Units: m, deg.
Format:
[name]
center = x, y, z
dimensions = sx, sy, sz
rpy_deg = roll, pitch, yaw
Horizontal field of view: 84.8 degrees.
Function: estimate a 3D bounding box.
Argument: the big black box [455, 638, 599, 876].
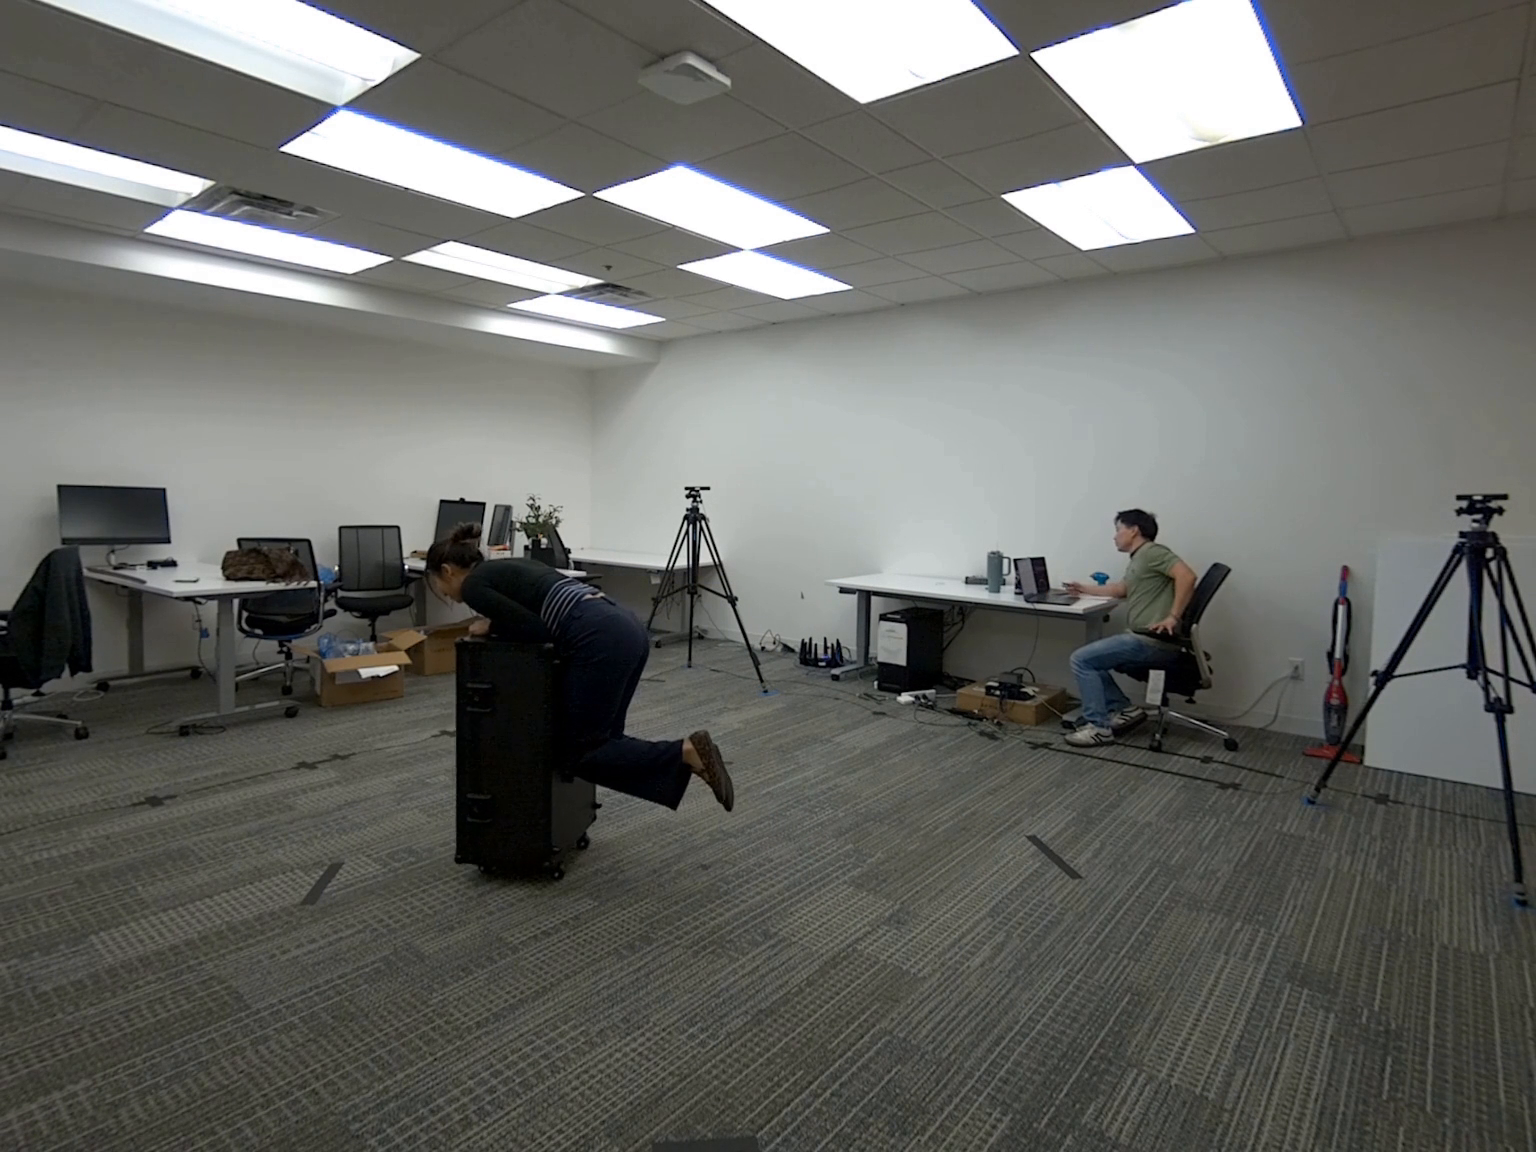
[big black box]
center = -0.876, 0.629, 3.151
dimensions = 0.400, 0.860, 0.517
rpy_deg = 2, 2, 8
